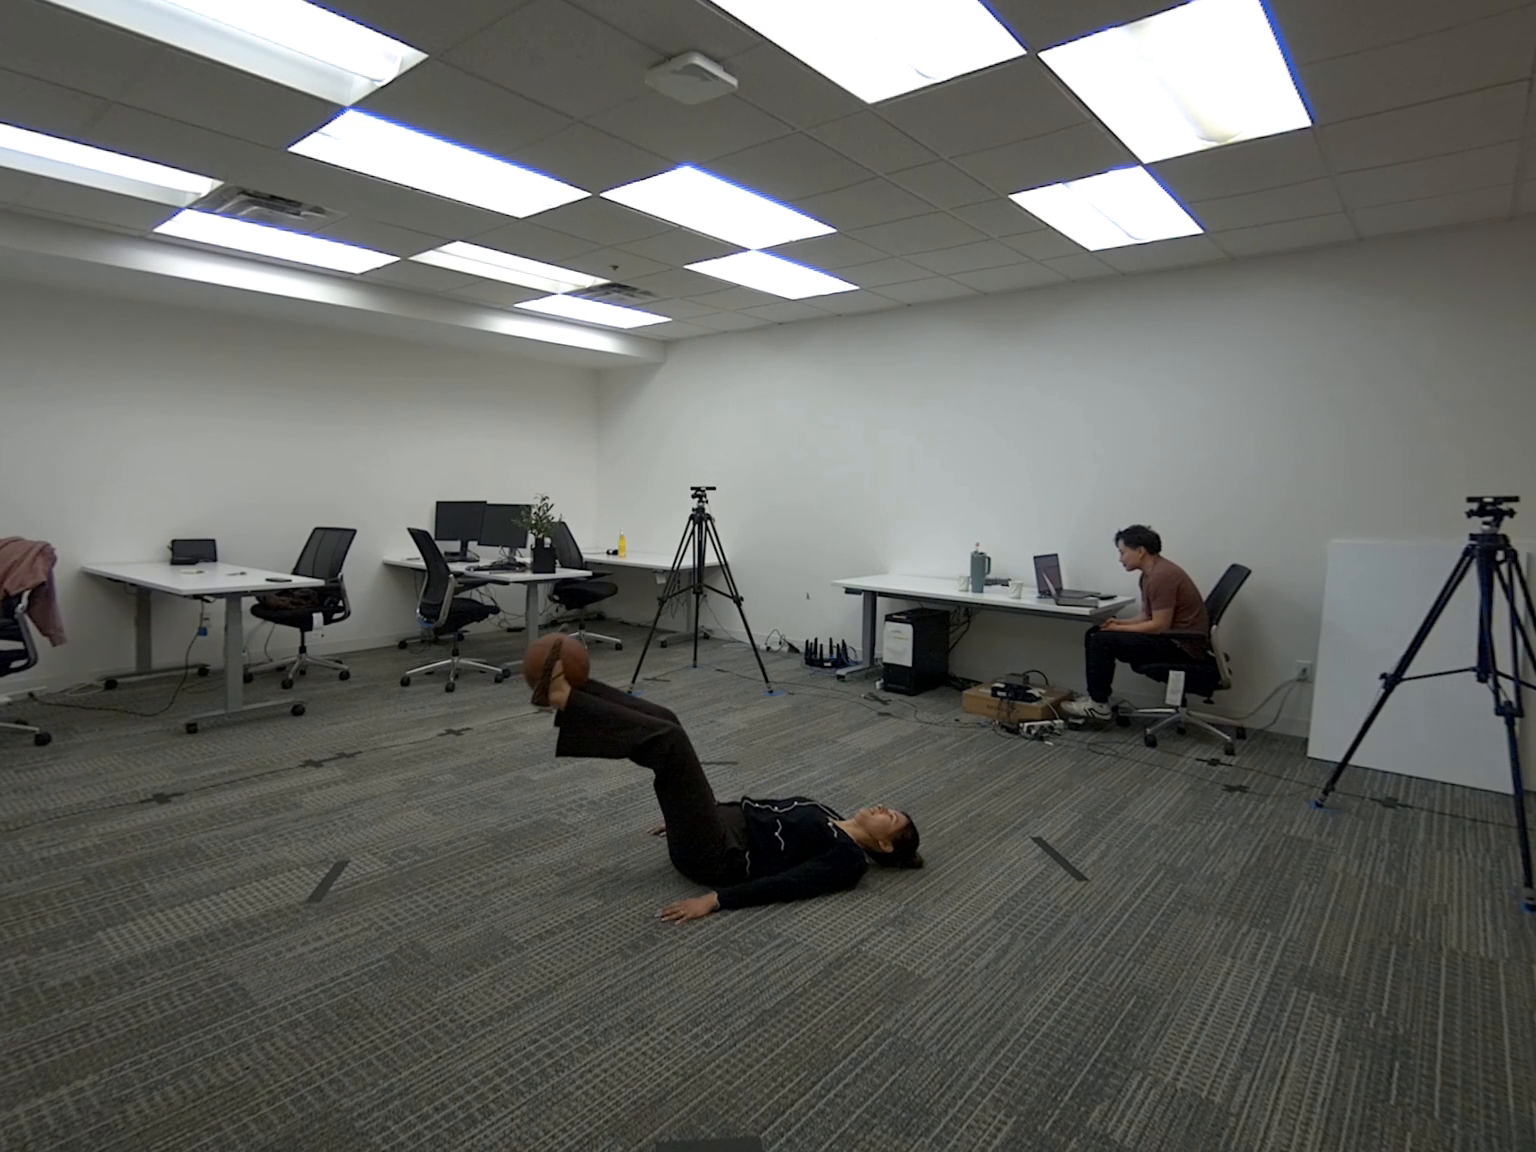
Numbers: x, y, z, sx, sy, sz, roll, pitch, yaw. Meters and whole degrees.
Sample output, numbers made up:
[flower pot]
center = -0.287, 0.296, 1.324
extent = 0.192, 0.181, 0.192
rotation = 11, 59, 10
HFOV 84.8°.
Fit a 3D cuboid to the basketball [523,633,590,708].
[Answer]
[basketball]
center = -0.770, 0.331, 3.038
extent = 0.236, 0.234, 0.238
rotation = 0, 7, -2
